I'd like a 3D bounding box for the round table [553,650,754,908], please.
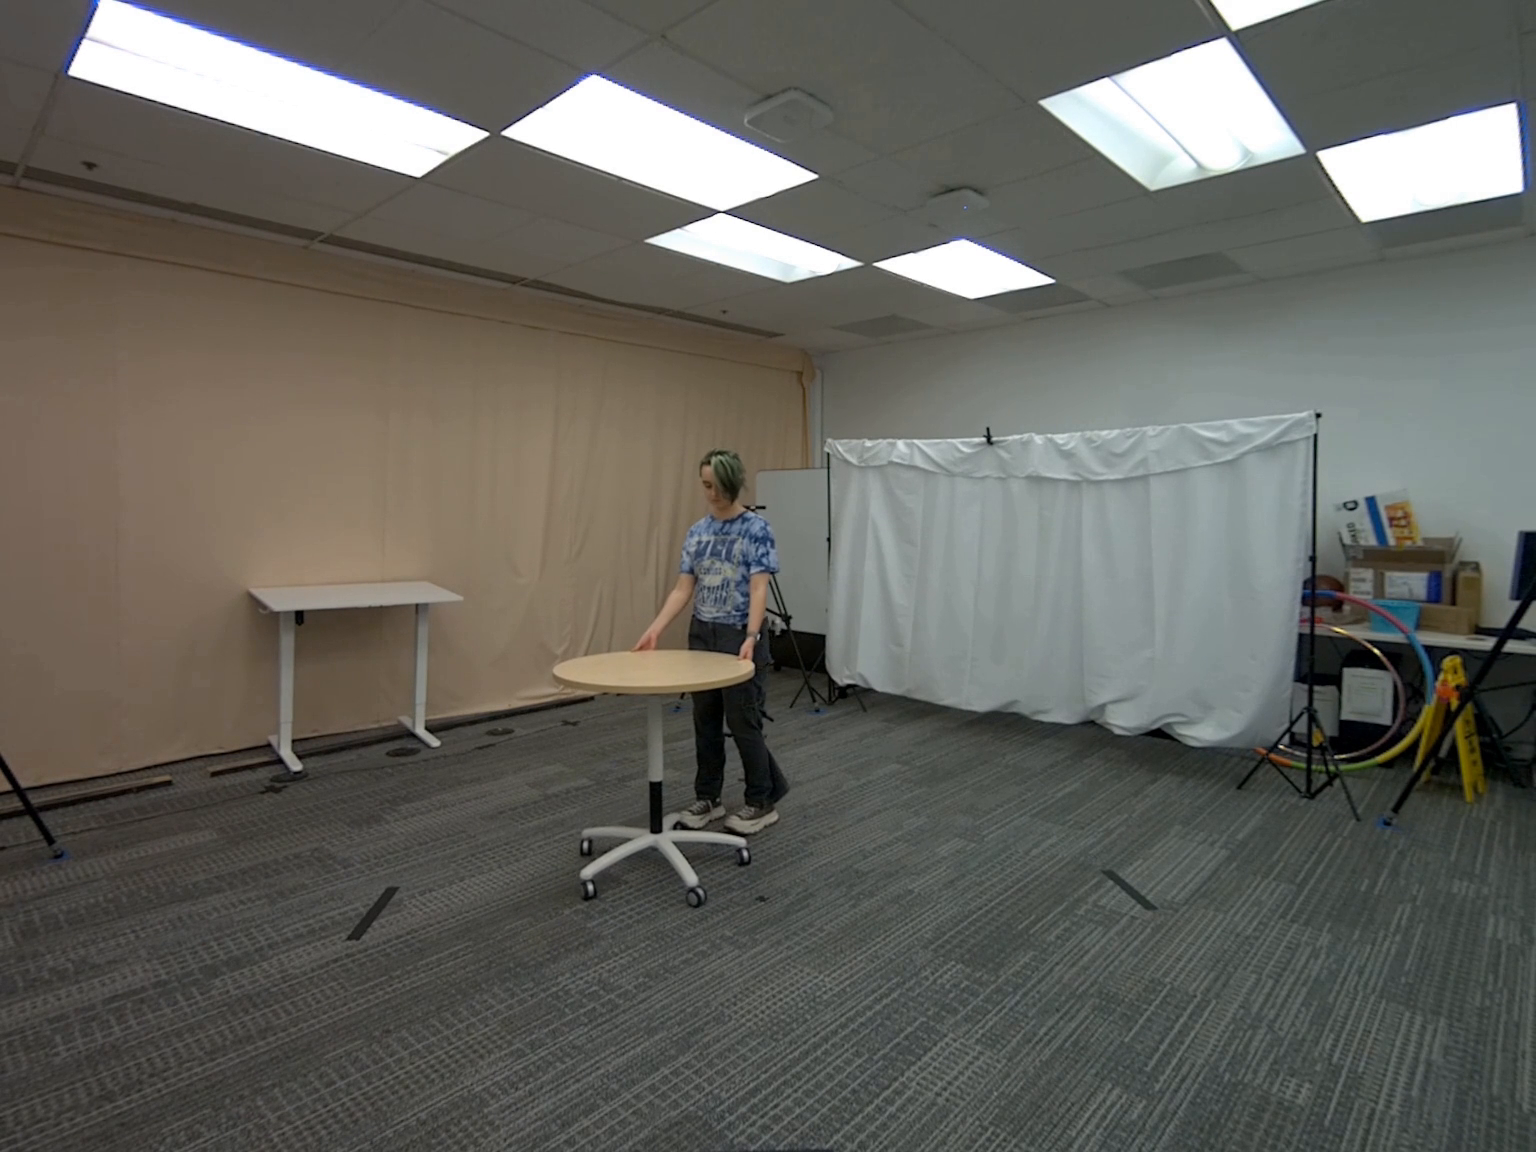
[{"bbox_3d":[-0.427,0.739,3.219,0.763,0.792,0.766,-1,3,-2],"label":"round table"}]
